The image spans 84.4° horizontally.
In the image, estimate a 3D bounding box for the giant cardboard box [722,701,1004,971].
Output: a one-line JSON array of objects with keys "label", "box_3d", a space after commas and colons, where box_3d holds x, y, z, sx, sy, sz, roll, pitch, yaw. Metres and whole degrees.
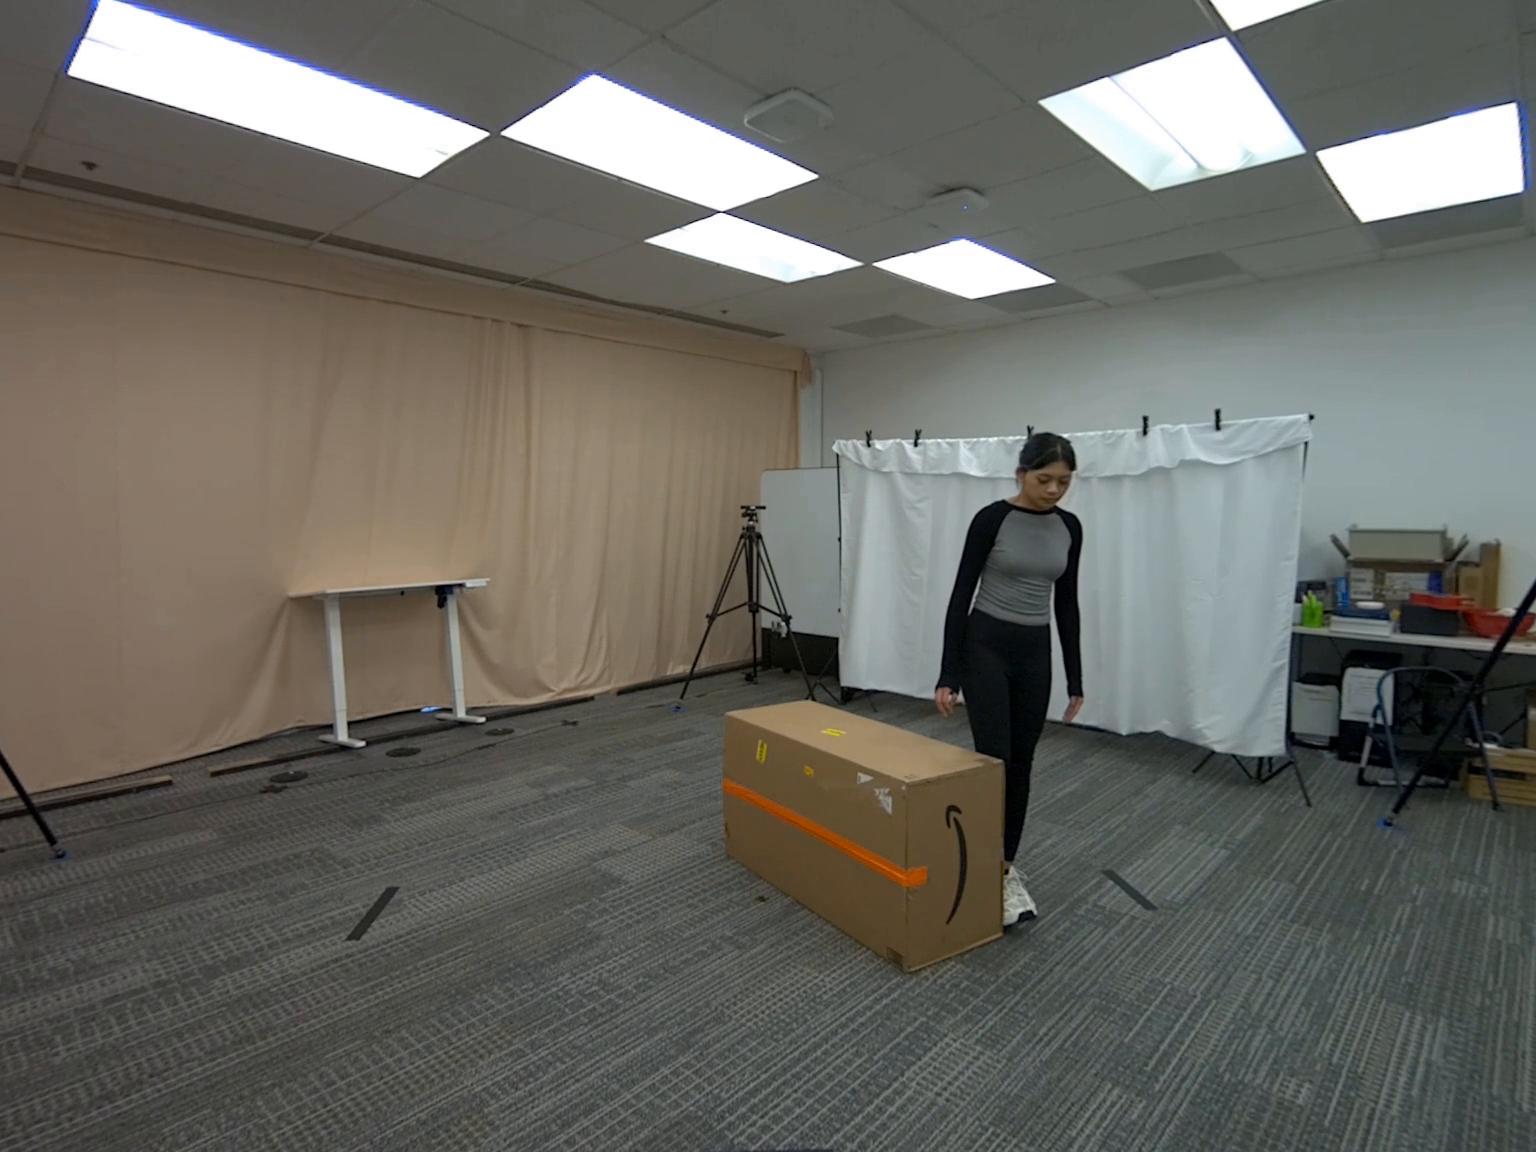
[{"label": "giant cardboard box", "box_3d": [0.289, 0.852, 3.024, 0.414, 0.576, 1.057, -2, 4, -33]}]
